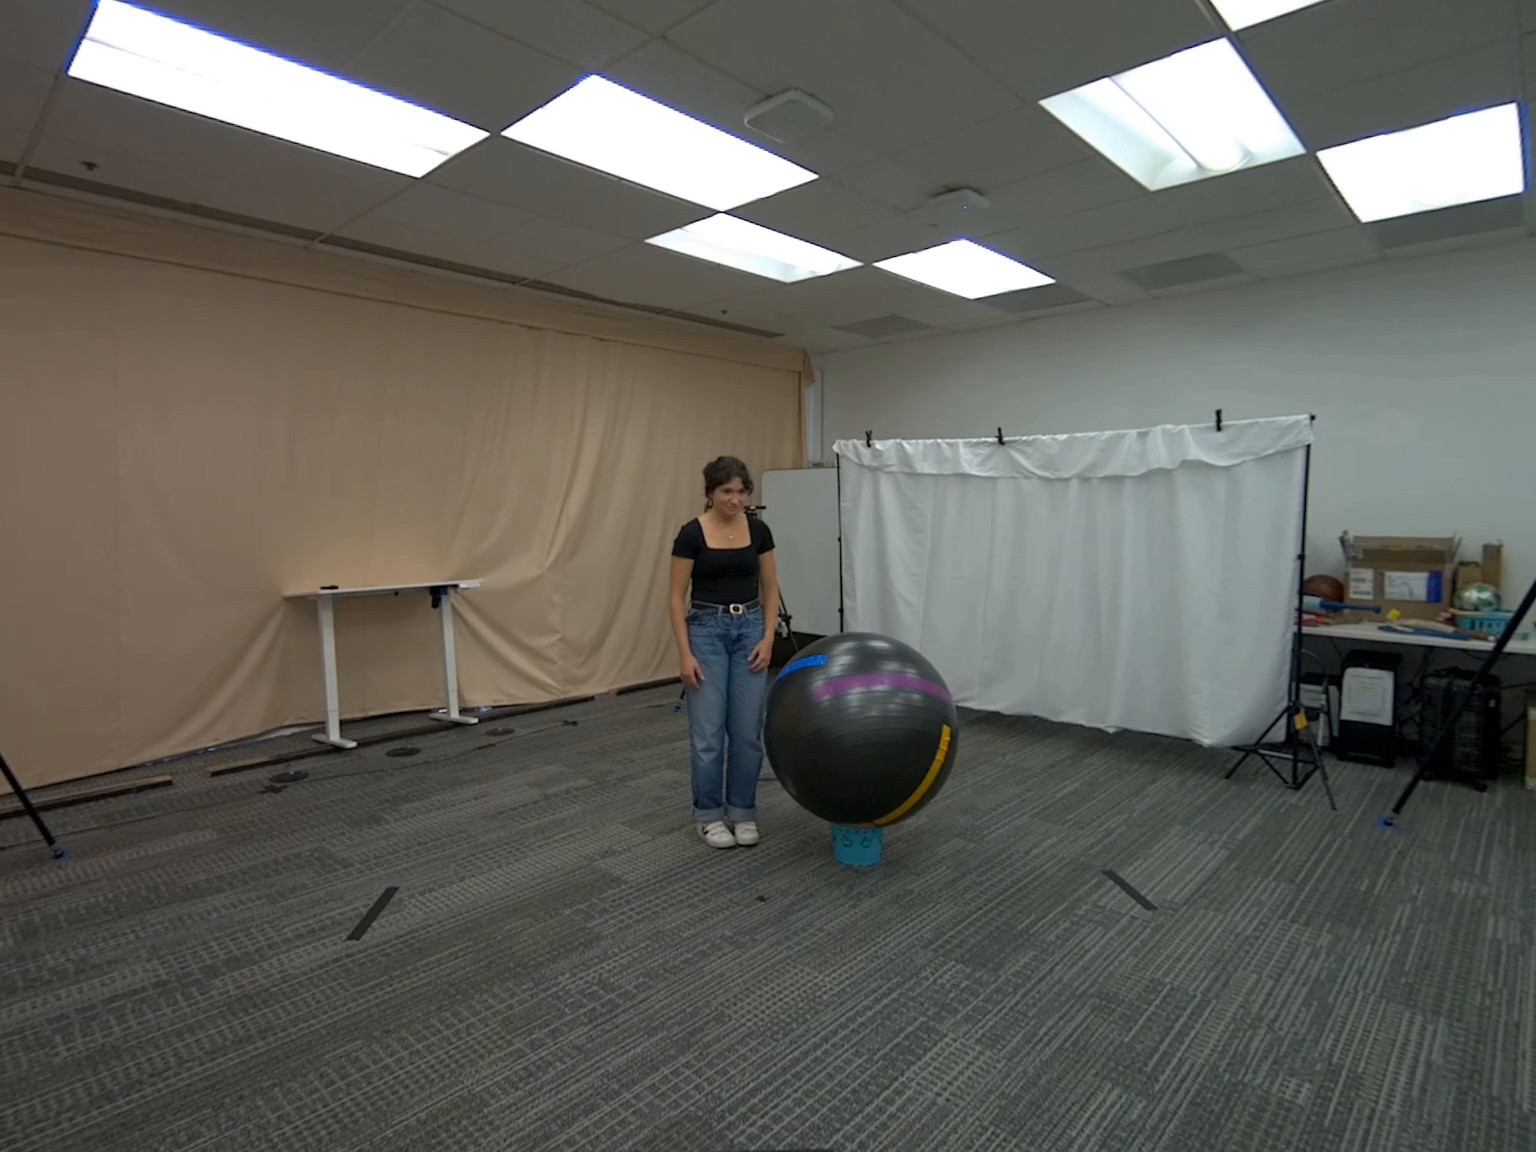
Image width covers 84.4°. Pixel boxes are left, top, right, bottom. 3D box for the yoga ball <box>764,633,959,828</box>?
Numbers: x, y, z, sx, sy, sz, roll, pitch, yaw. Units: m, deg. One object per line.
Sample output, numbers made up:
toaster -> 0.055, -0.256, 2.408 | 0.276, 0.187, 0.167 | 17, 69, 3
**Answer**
yoga ball -> 0.362, 0.609, 3.340 | 0.757, 0.756, 0.760 | 0, 4, -2
